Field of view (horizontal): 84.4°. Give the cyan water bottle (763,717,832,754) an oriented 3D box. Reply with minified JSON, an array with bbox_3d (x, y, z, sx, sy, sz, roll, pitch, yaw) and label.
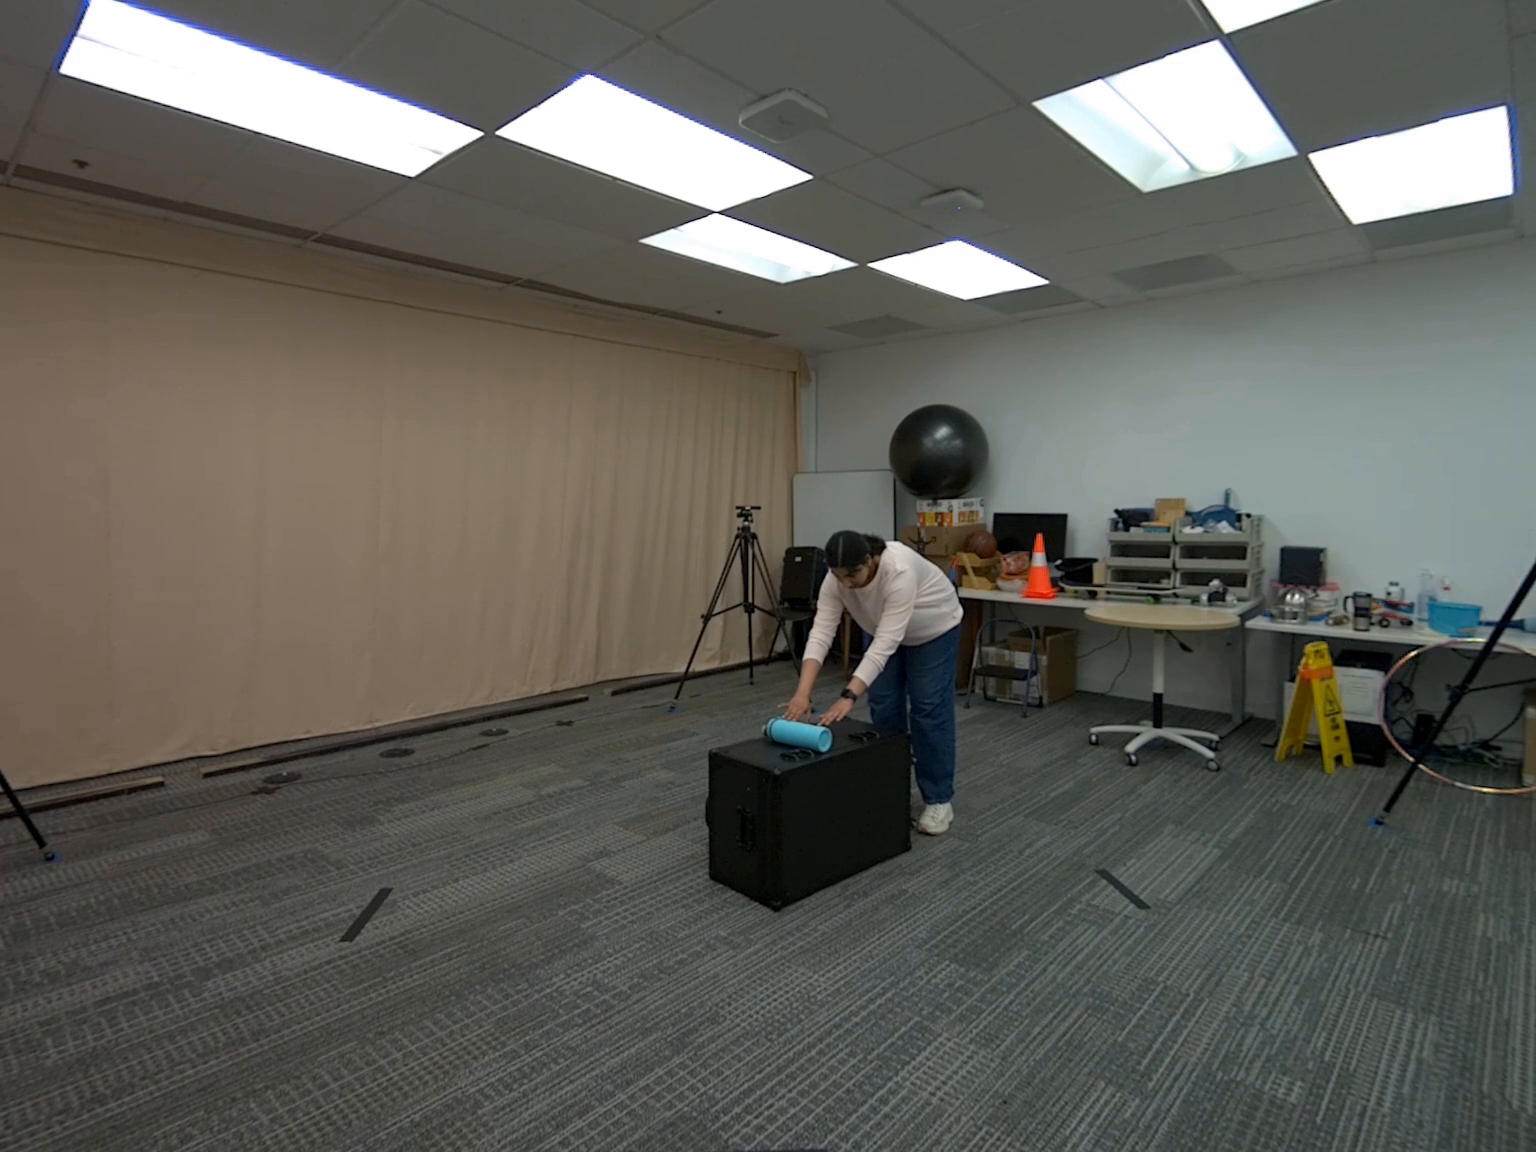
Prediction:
[{"bbox_3d":[0.107,0.595,3.193,0.293,0.092,0.089,3,5,42],"label":"cyan water bottle"}]
